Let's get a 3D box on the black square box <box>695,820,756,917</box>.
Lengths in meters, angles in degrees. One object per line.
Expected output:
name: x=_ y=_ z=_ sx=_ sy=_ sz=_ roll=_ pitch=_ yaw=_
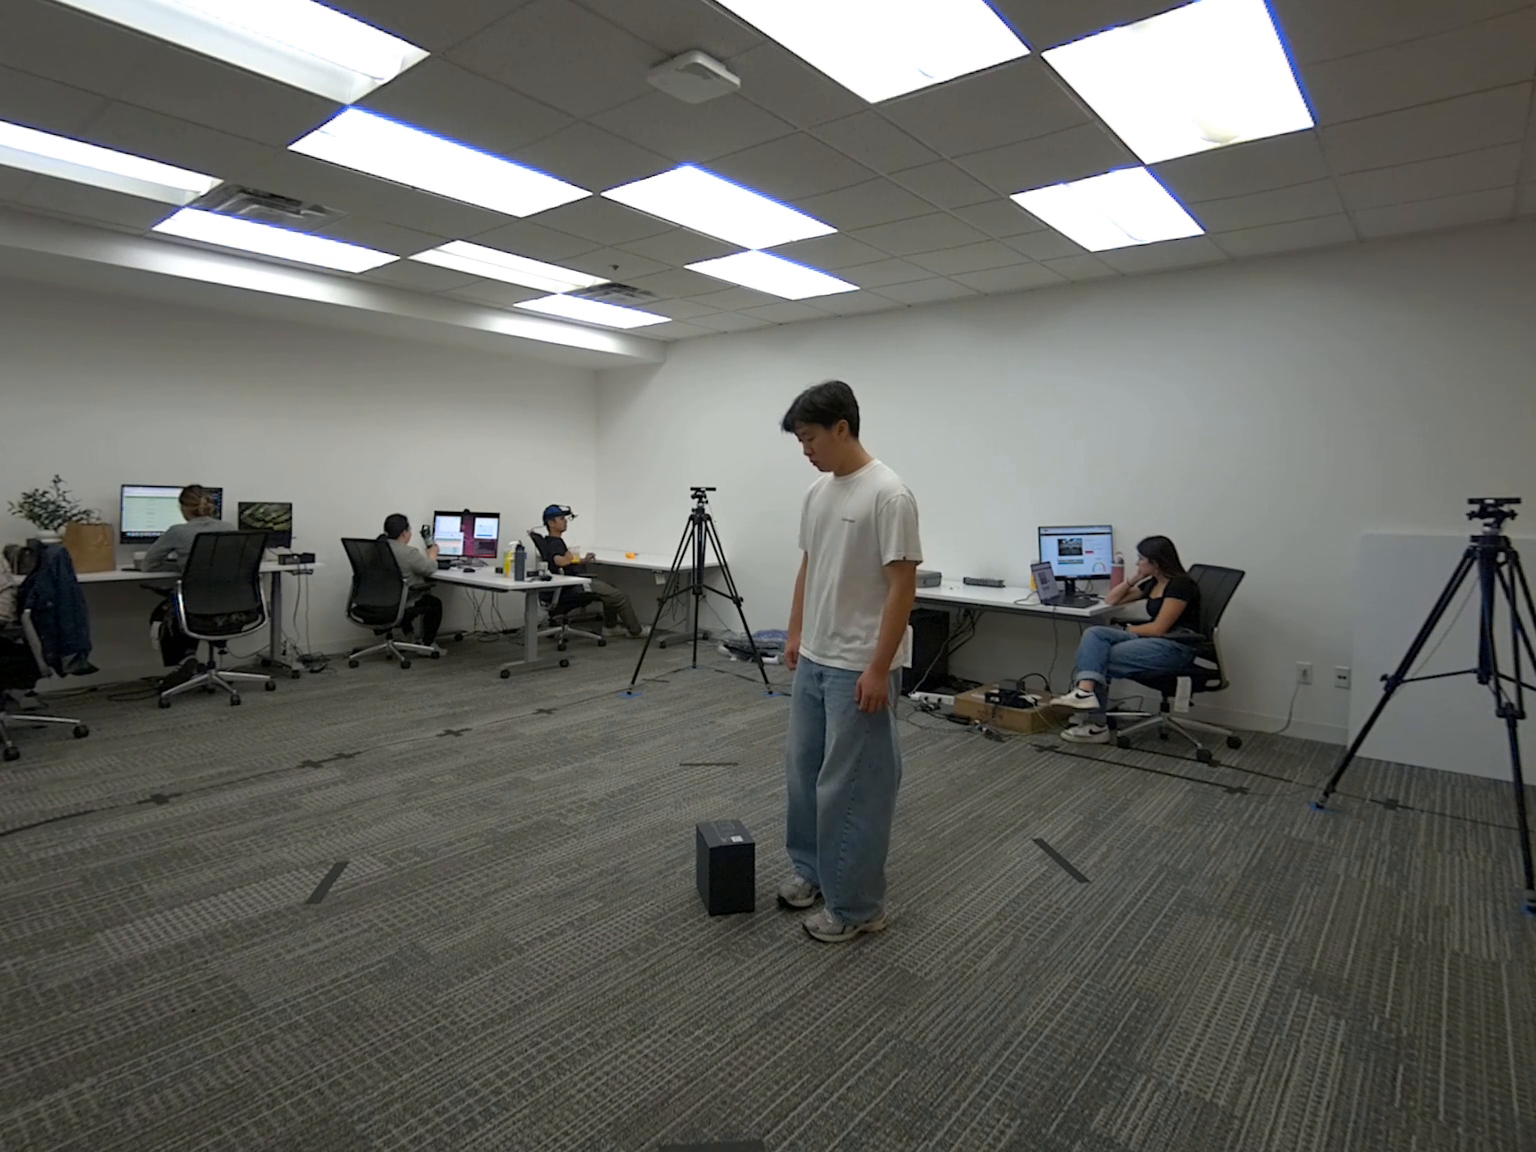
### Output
black square box: x=-0.157 y=0.970 z=2.873 sx=0.153 sy=0.227 sz=0.221 roll=-2 pitch=5 yaw=-16
